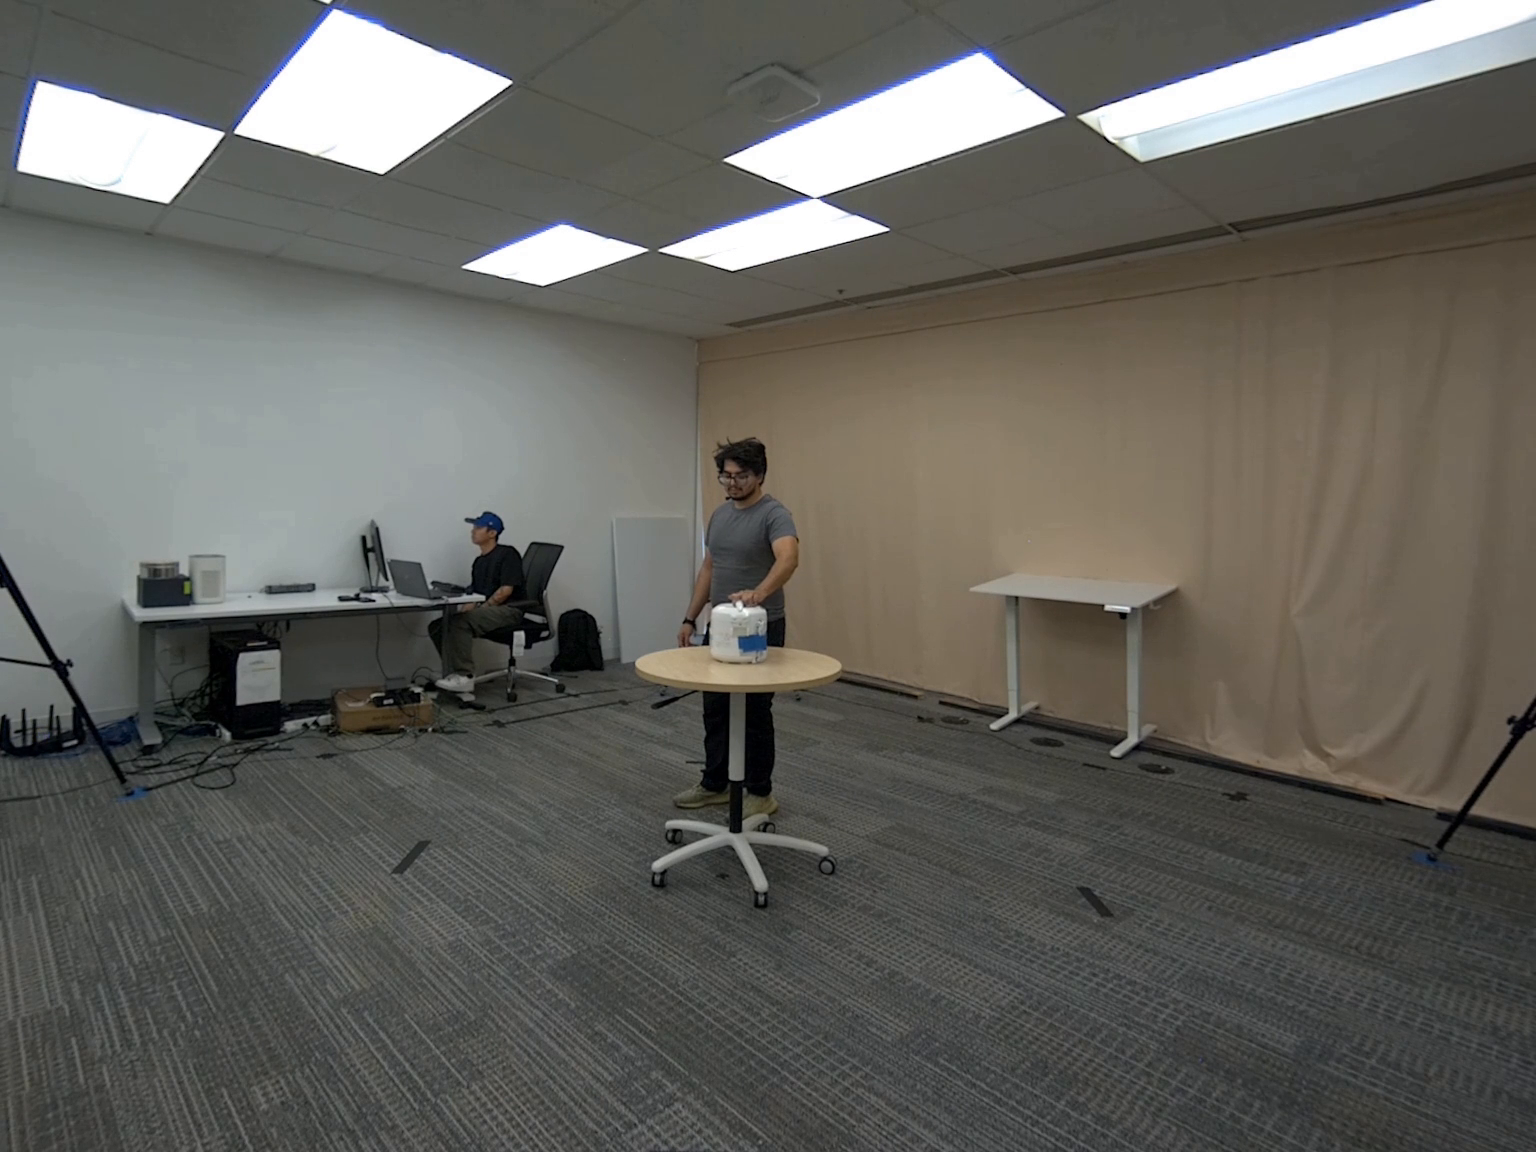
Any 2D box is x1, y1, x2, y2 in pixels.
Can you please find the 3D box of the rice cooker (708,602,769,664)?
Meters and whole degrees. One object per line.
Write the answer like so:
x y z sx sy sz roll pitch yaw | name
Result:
-0.125 0.202 3.184 0.217 0.232 0.221 3 3 -3 | rice cooker
